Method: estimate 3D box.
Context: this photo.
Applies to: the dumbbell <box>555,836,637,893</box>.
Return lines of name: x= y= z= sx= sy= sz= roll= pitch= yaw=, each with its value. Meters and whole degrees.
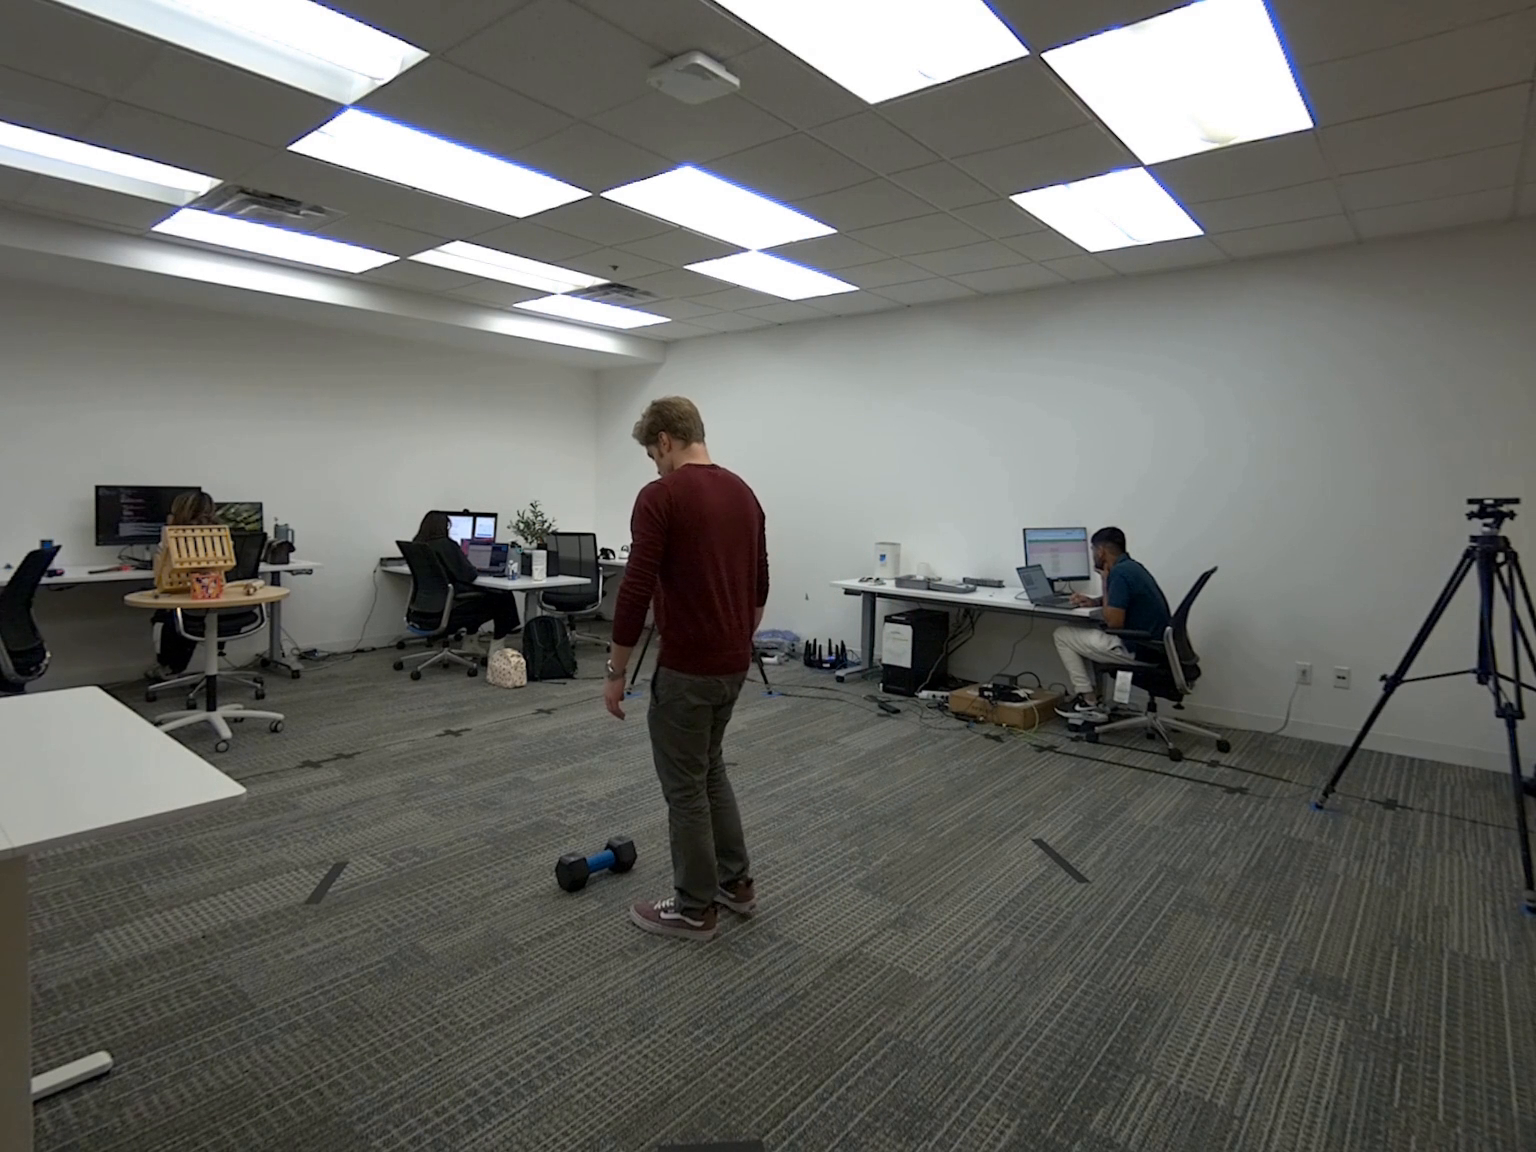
dumbbell: x=-0.617 y=1.015 z=3.017 sx=0.285 sy=0.126 sz=0.109 roll=-4 pitch=-24 yaw=-46
